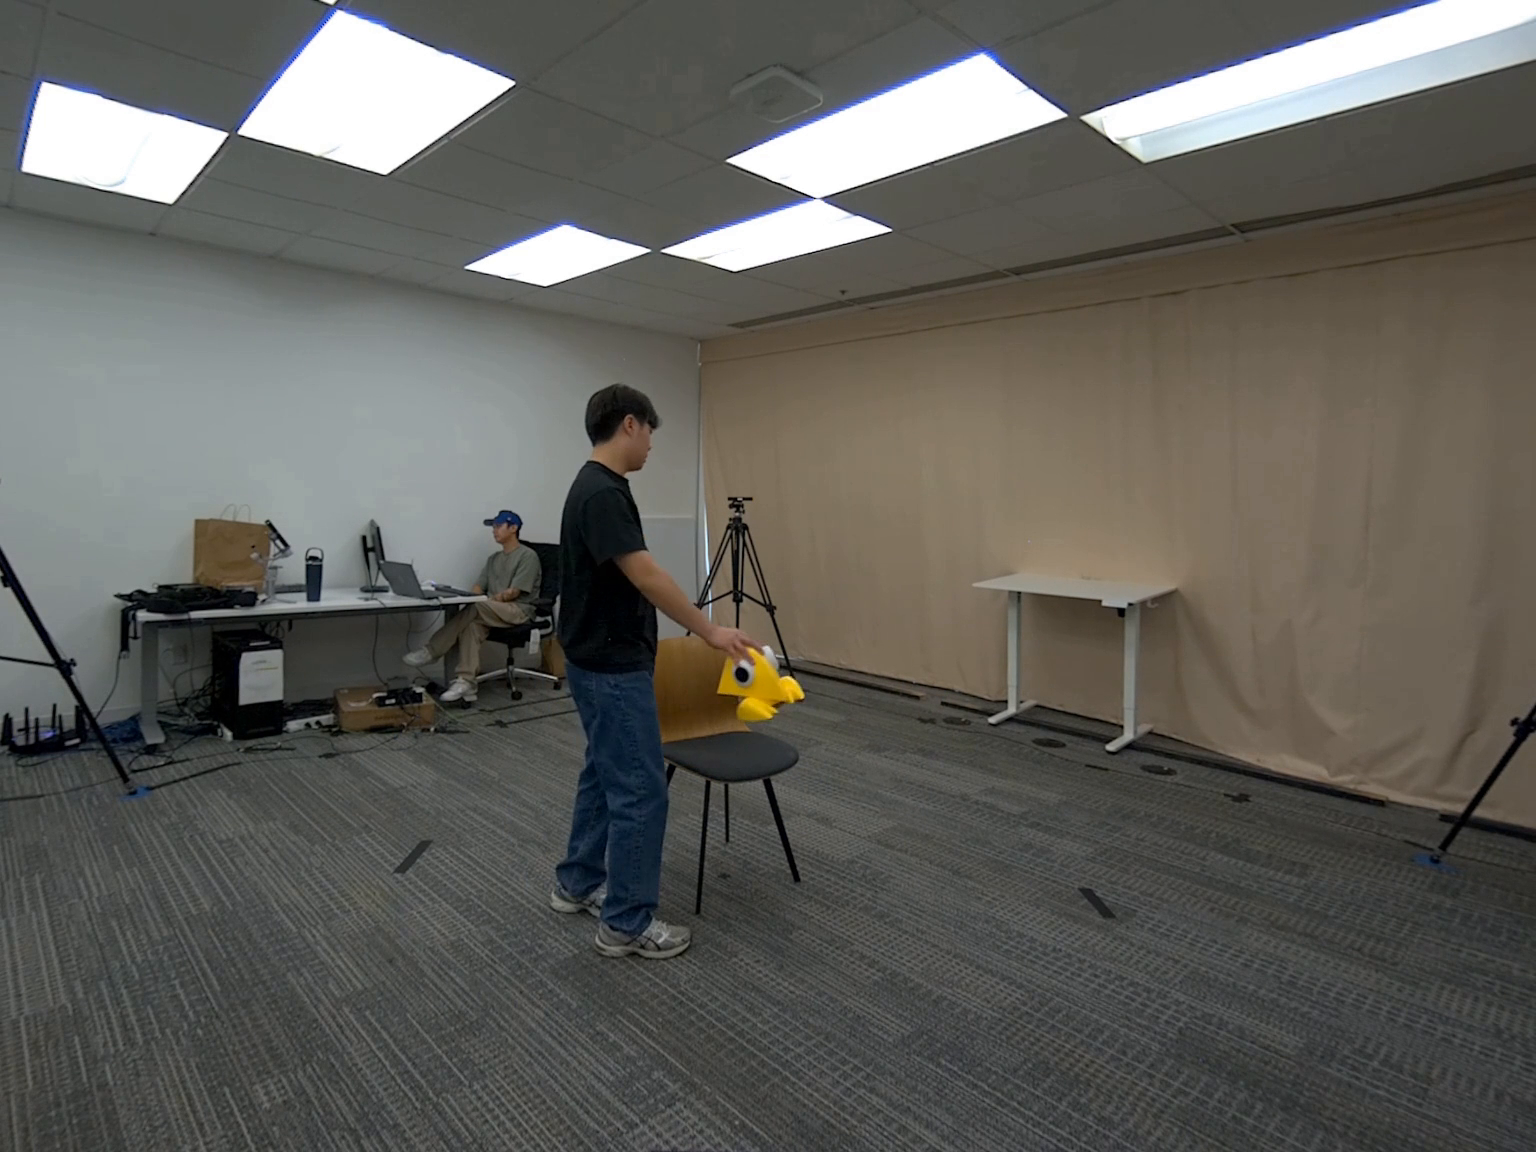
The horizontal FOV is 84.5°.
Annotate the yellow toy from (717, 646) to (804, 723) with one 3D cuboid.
[{"bbox_3d":[-0.051,0.283,2.496,0.202,0.229,0.197,-23,11,-35],"label":"yellow toy"}]
